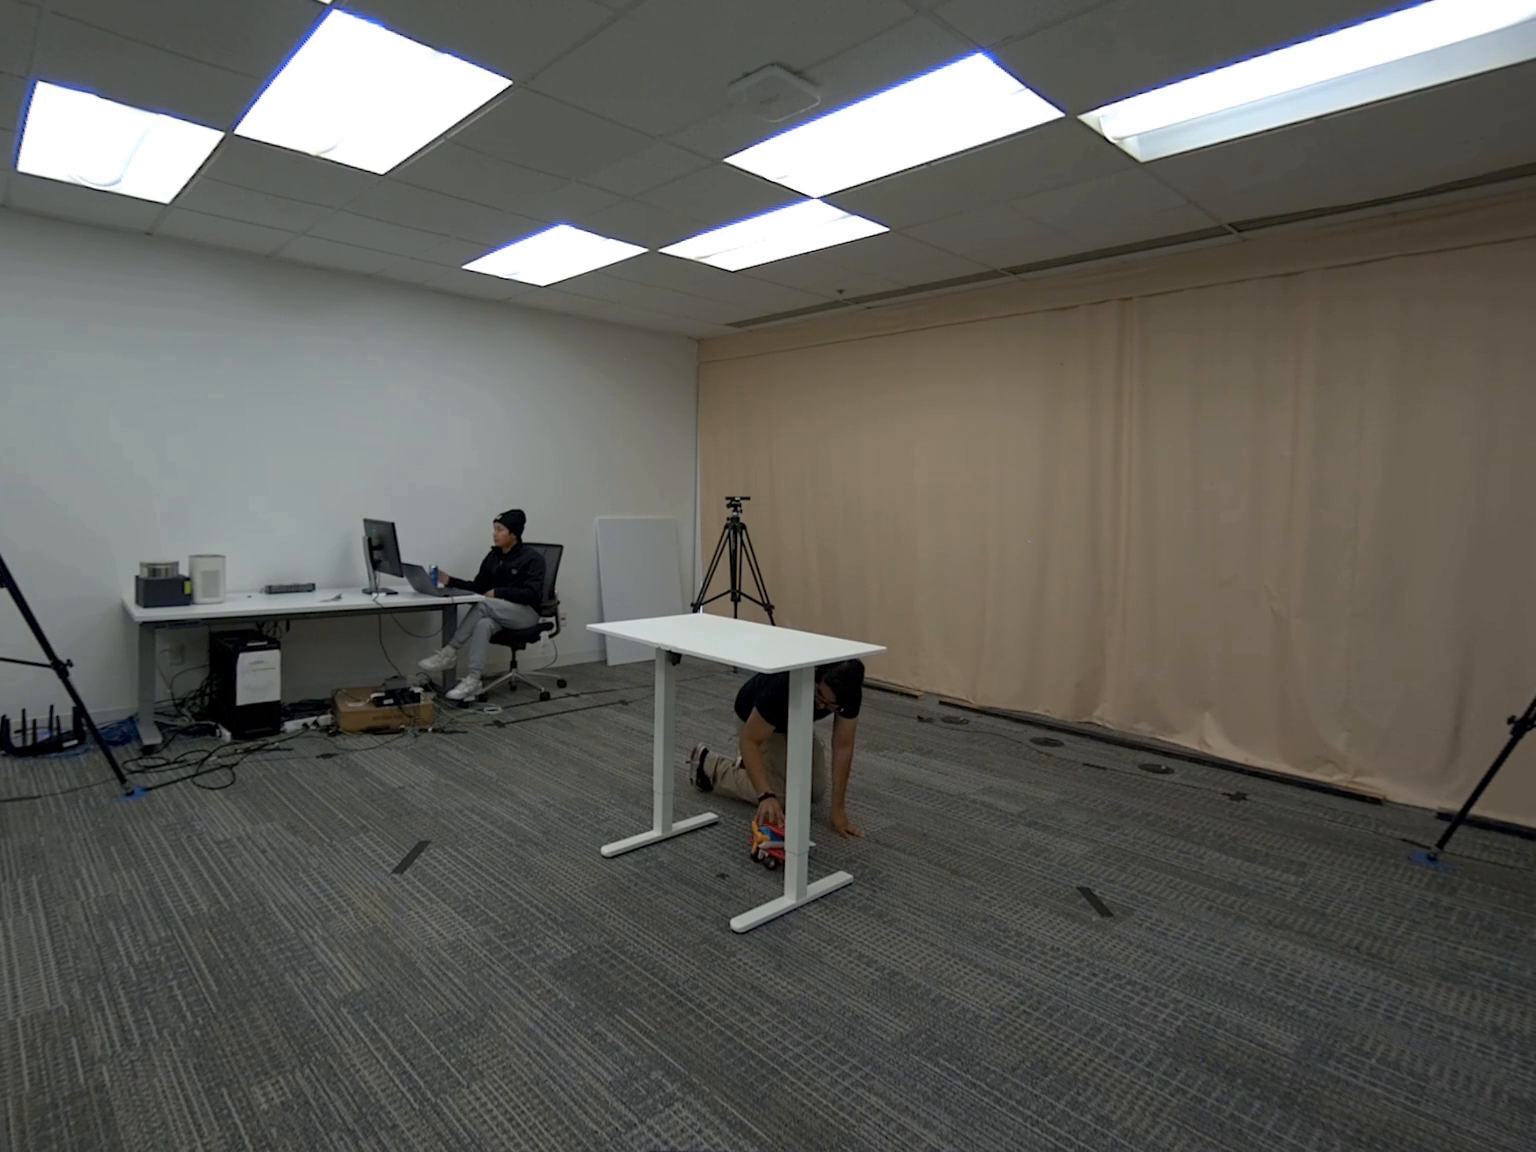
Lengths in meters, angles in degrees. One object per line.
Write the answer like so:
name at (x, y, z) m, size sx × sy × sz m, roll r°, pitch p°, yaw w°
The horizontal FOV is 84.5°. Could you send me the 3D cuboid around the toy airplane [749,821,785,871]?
toy airplane at (0.028, 1.027, 3.257) m, size 0.256 × 0.156 × 0.255 m, roll 4°, pitch 6°, yaw 25°
